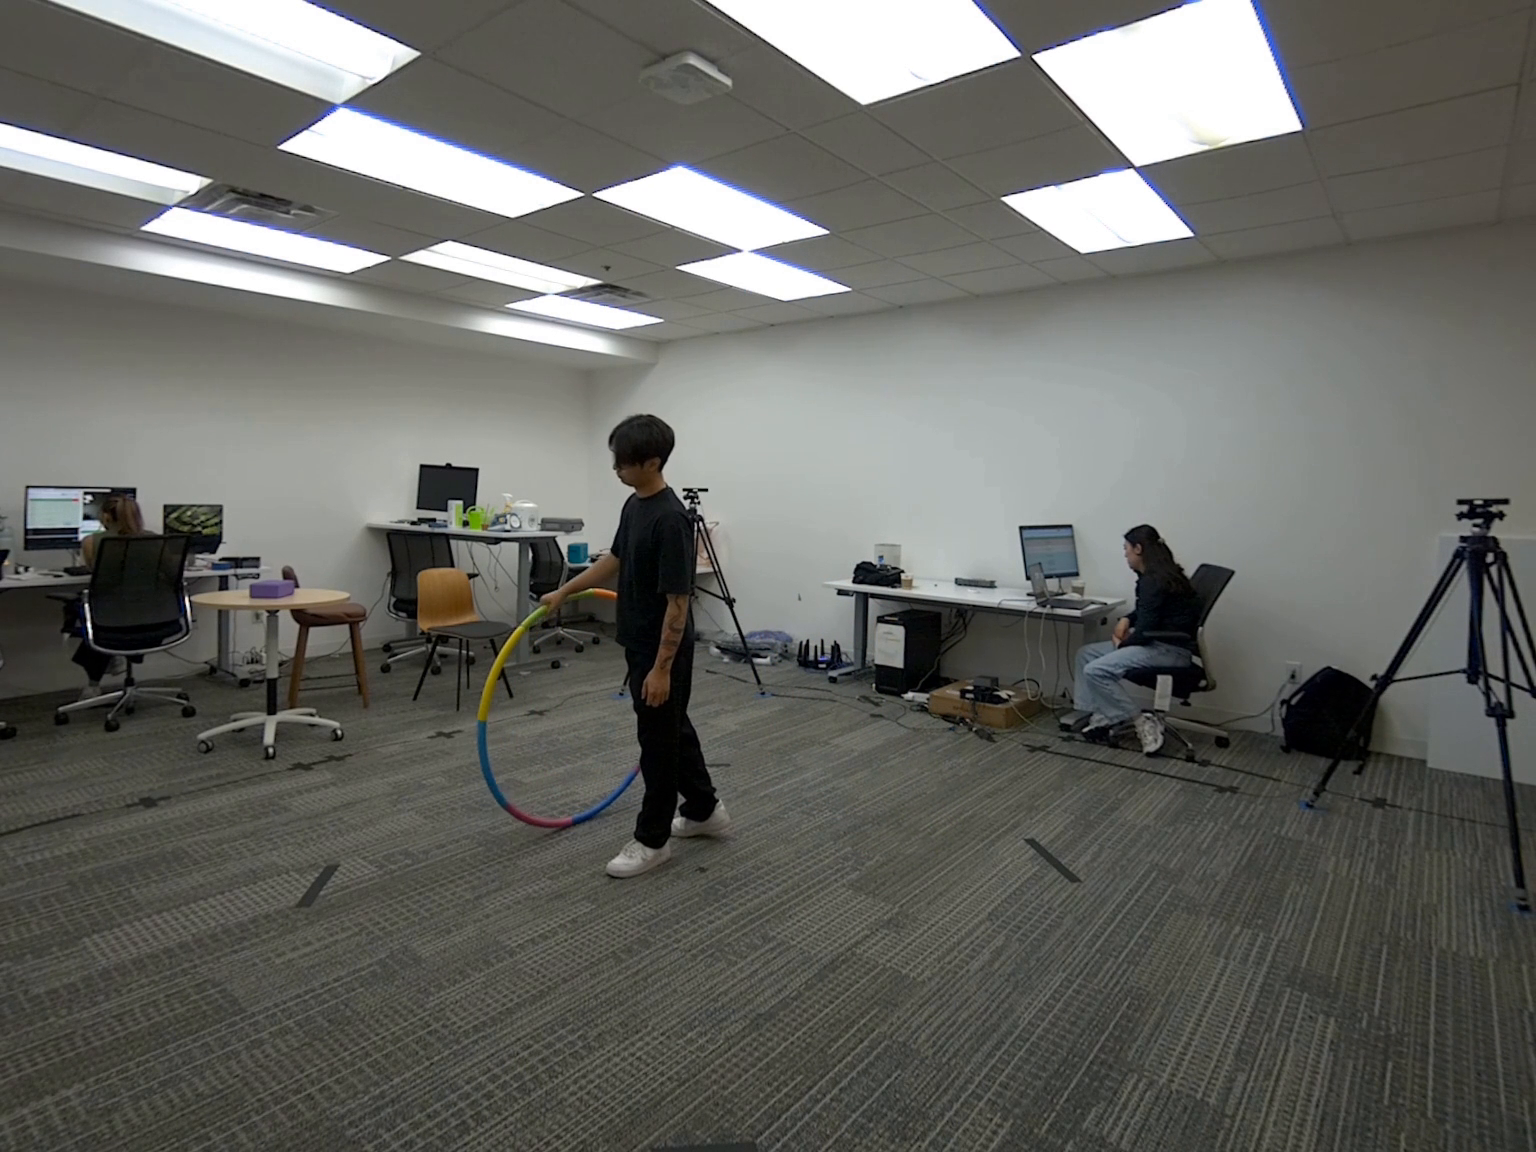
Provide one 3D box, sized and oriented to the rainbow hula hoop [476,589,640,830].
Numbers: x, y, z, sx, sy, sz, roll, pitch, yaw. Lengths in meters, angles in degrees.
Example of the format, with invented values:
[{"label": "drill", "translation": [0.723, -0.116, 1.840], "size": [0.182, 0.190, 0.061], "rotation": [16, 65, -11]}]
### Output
[{"label": "rainbow hula hoop", "translation": [-0.779, 0.538, 3.496], "size": [0.037, 0.975, 0.950], "rotation": [5, 6, 38]}]
